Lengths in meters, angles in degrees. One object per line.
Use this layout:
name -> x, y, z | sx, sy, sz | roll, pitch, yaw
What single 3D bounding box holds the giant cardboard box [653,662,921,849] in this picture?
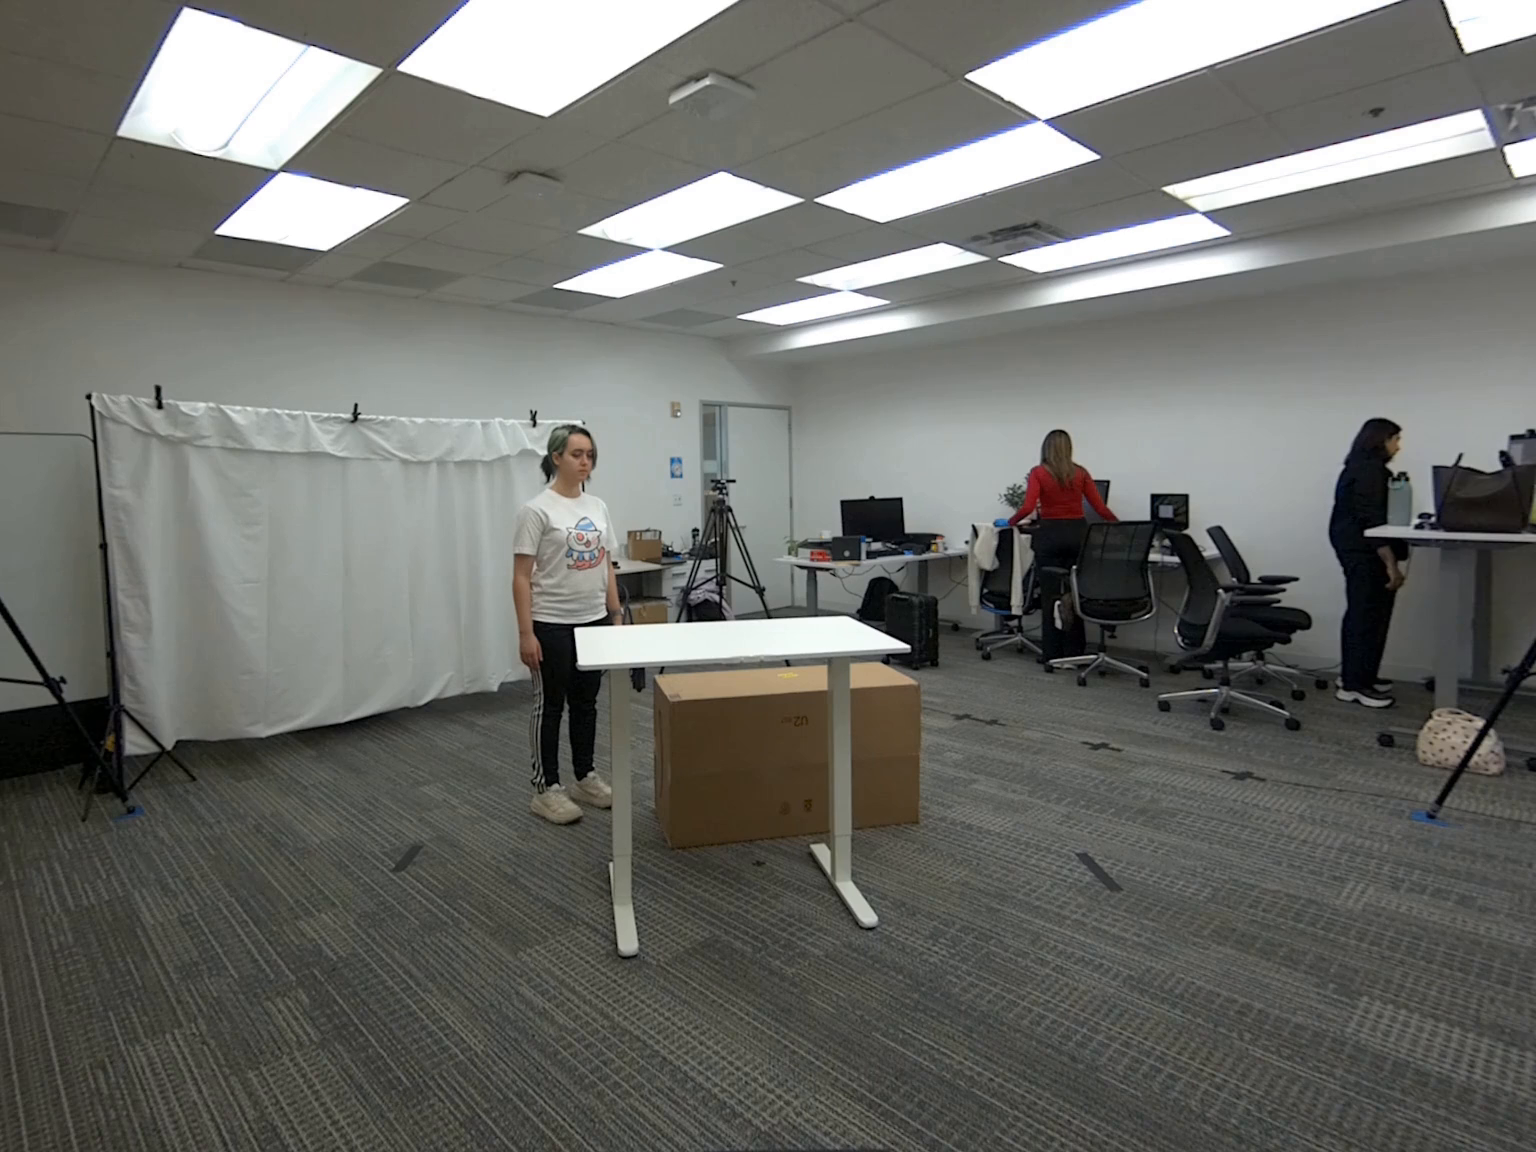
giant cardboard box -> 0.065, 0.708, 3.531 | 1.014, 0.582, 0.454 | -2, 5, -14
